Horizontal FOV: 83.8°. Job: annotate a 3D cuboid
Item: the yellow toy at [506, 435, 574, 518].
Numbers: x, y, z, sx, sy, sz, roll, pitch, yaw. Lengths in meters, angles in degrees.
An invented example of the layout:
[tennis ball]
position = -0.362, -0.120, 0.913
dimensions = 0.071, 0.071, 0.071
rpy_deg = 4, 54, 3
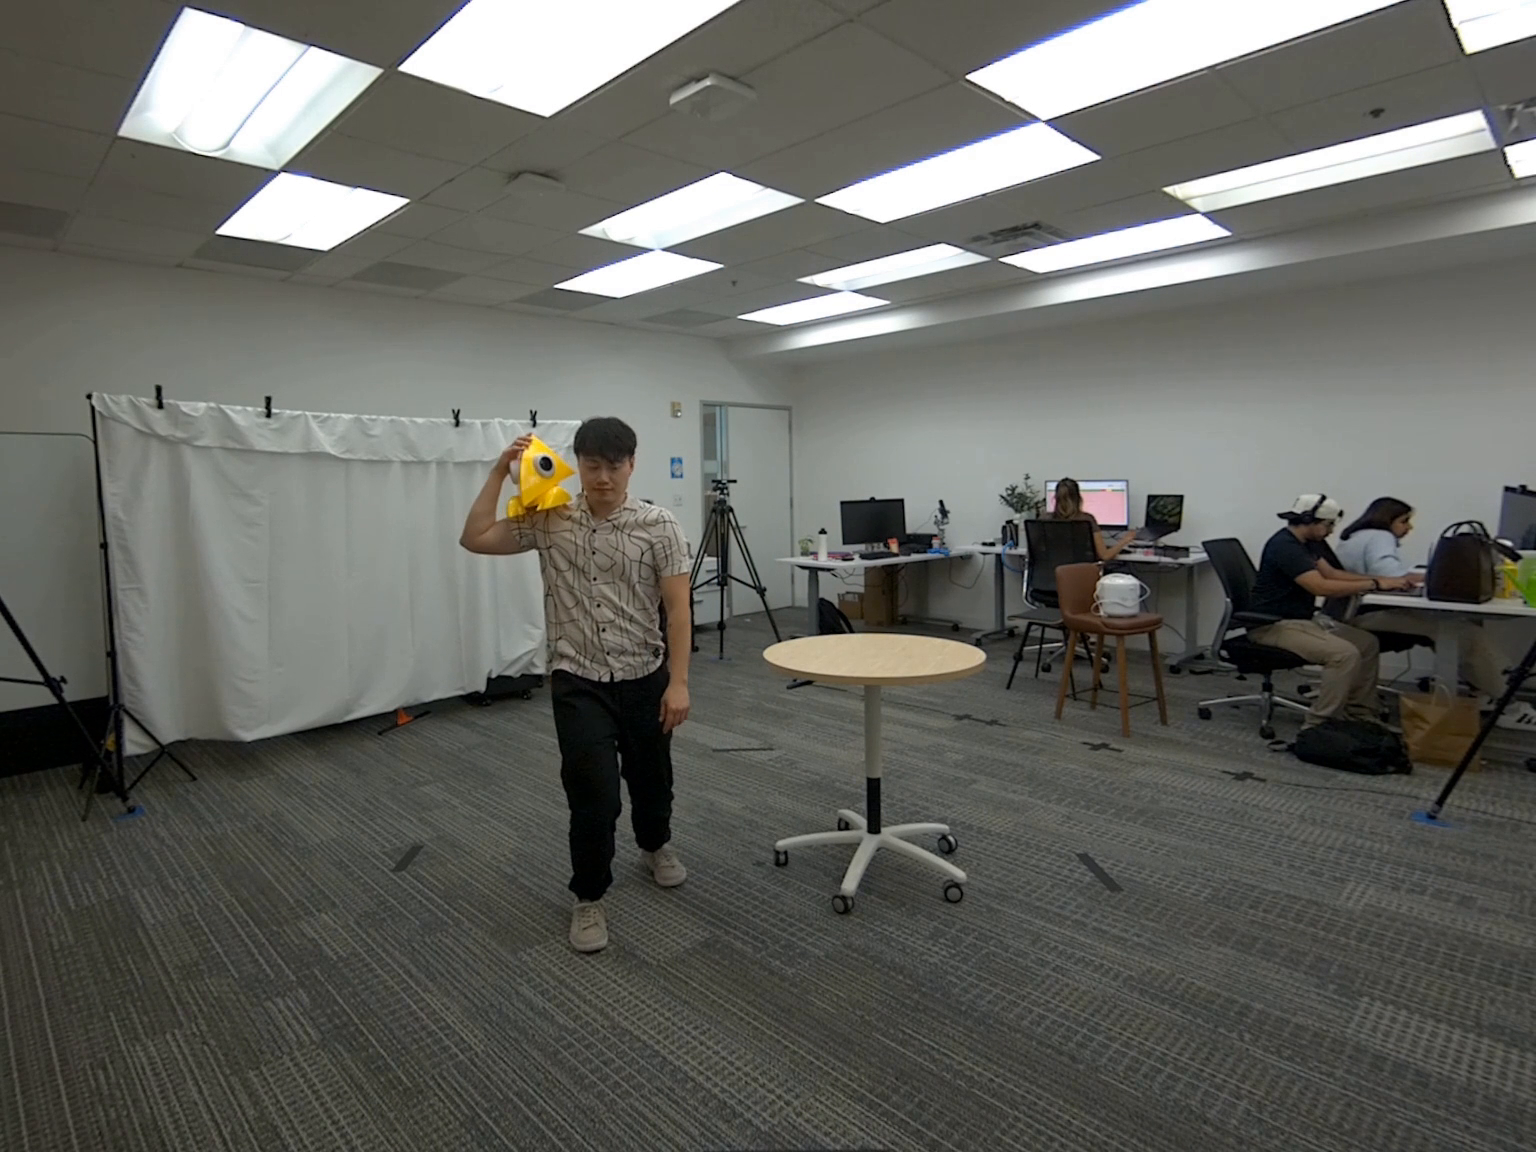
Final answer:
[yellow toy]
position = -0.731, -0.324, 2.672
dimensions = 0.208, 0.228, 0.192
rpy_deg = -9, 11, 20
